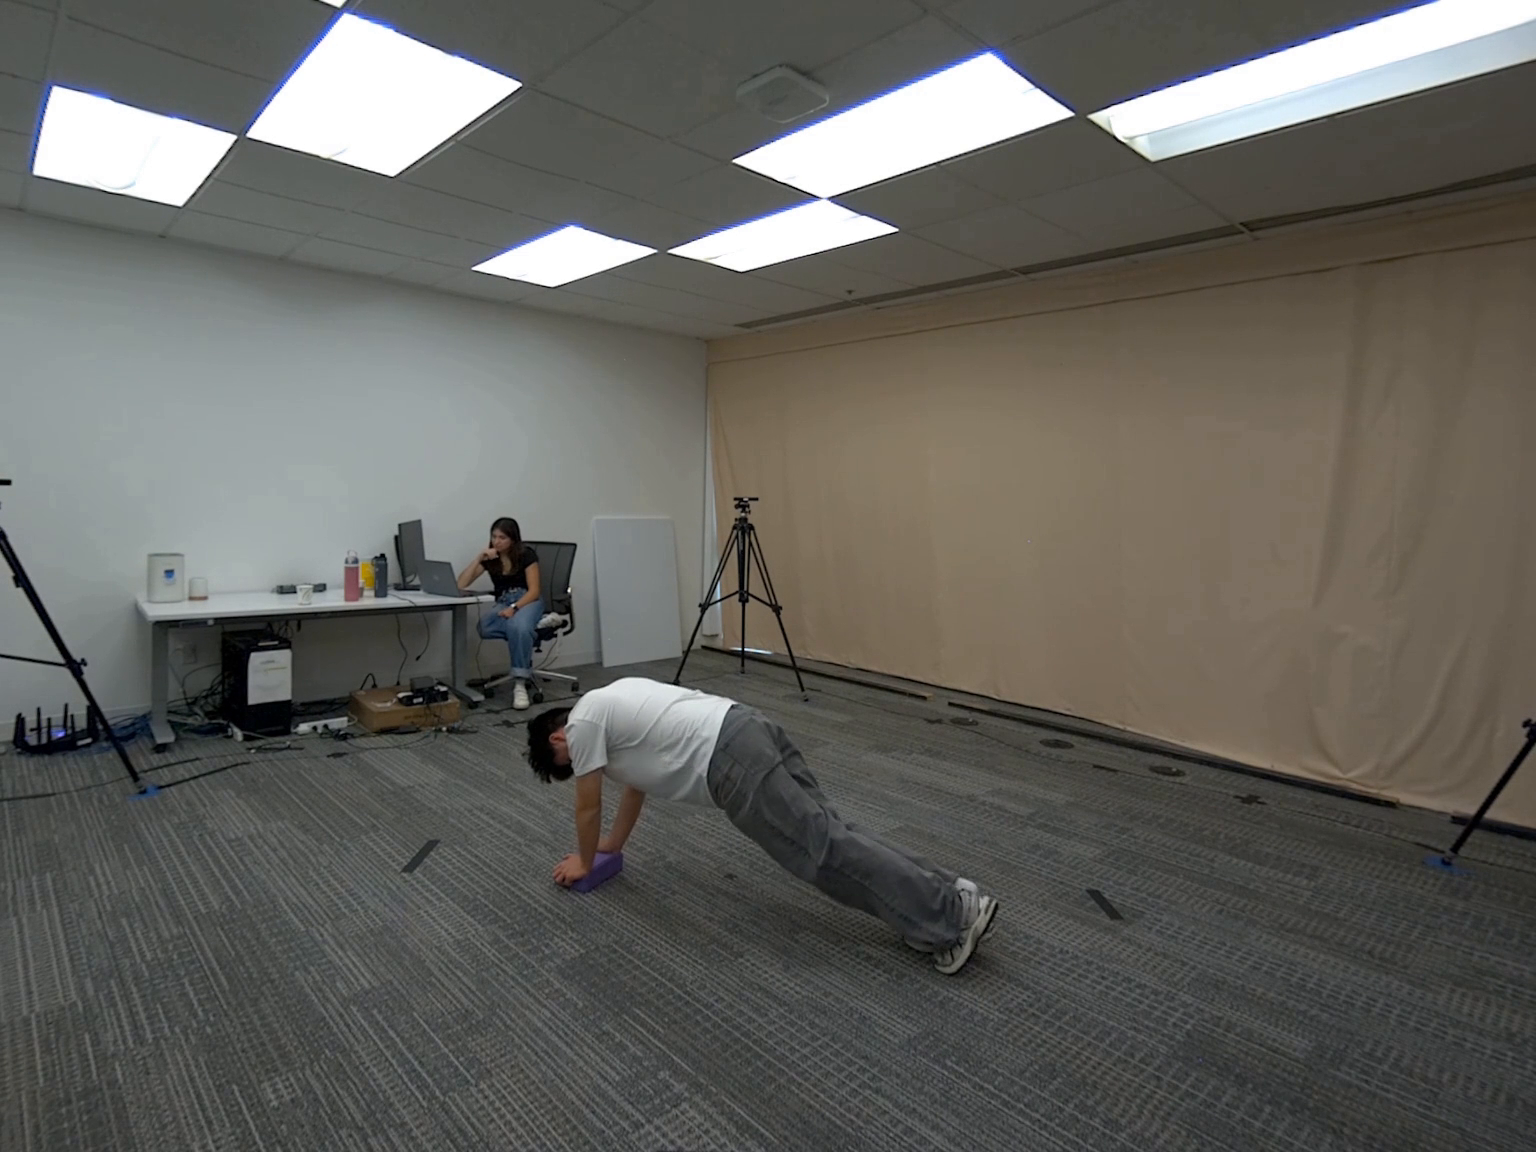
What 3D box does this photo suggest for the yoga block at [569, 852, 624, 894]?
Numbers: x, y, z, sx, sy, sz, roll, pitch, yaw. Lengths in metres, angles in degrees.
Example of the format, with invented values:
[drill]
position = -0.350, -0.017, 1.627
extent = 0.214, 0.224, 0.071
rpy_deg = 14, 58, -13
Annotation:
[yoga block]
position = -0.659, 1.070, 3.069
extent = 0.152, 0.076, 0.225
rpy_deg = 3, 7, 27
